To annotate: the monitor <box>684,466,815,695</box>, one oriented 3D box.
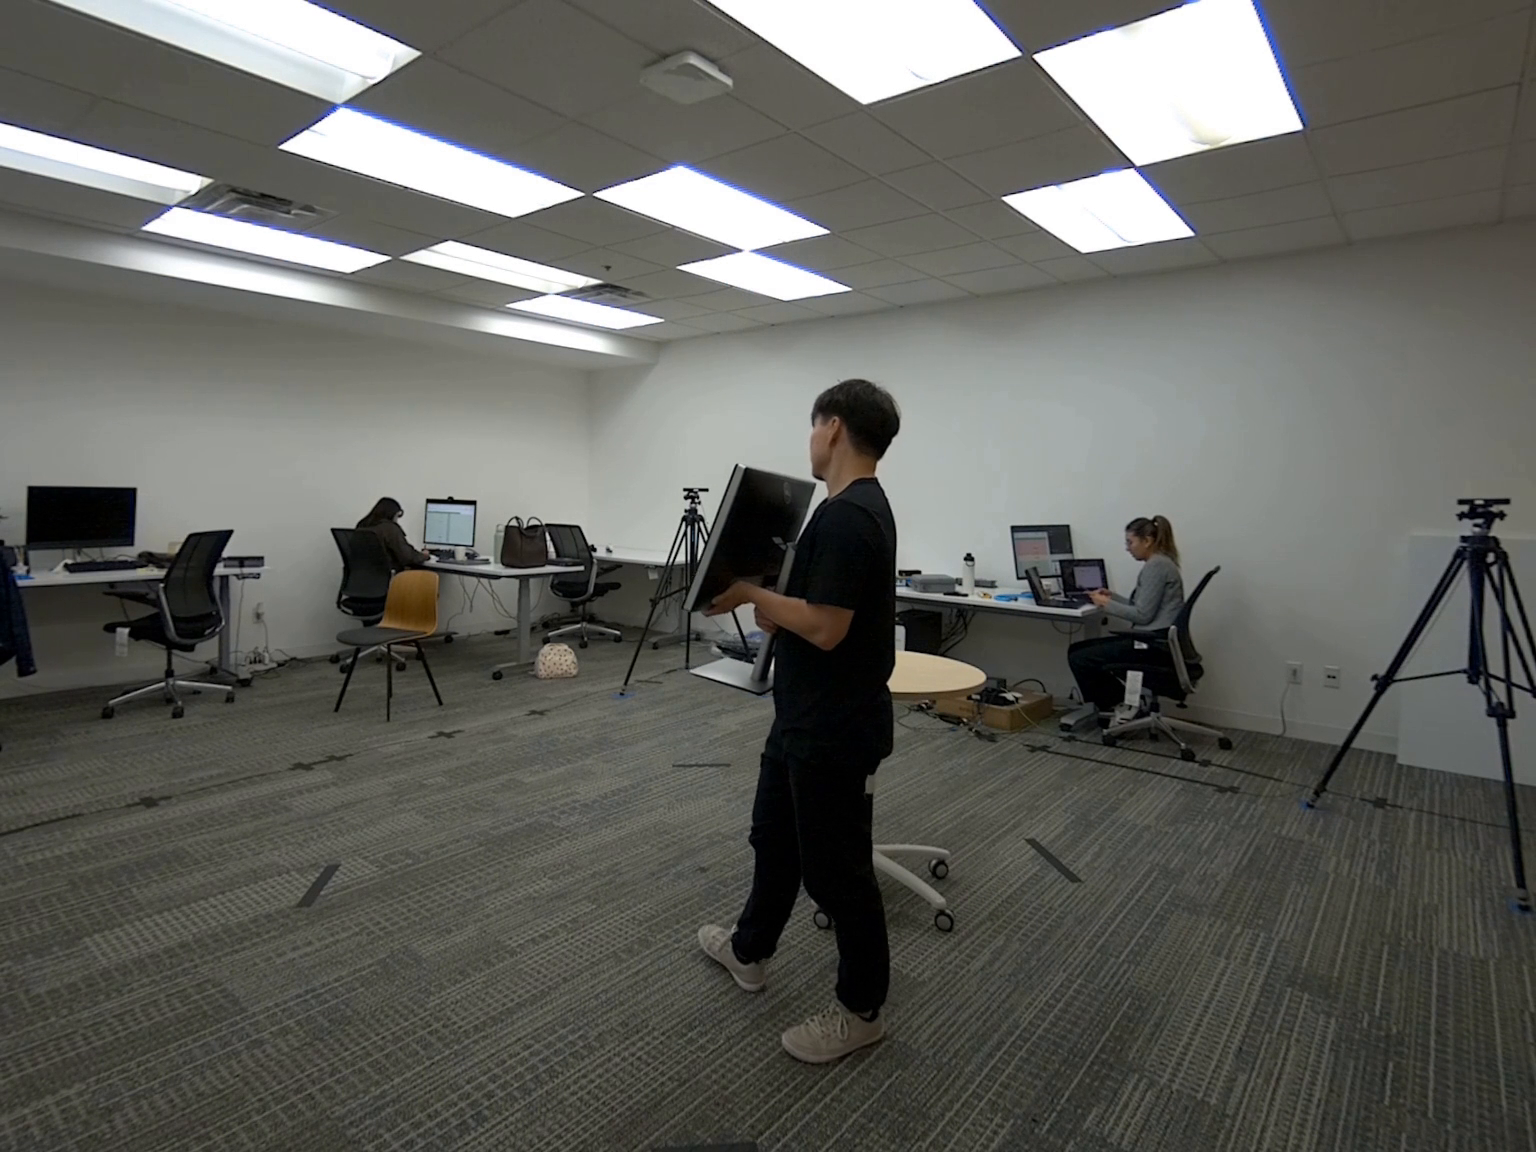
[{"bbox_3d":[-0.028,-0.002,2.204,0.192,0.521,0.527,11,5,20],"label":"monitor"}]
